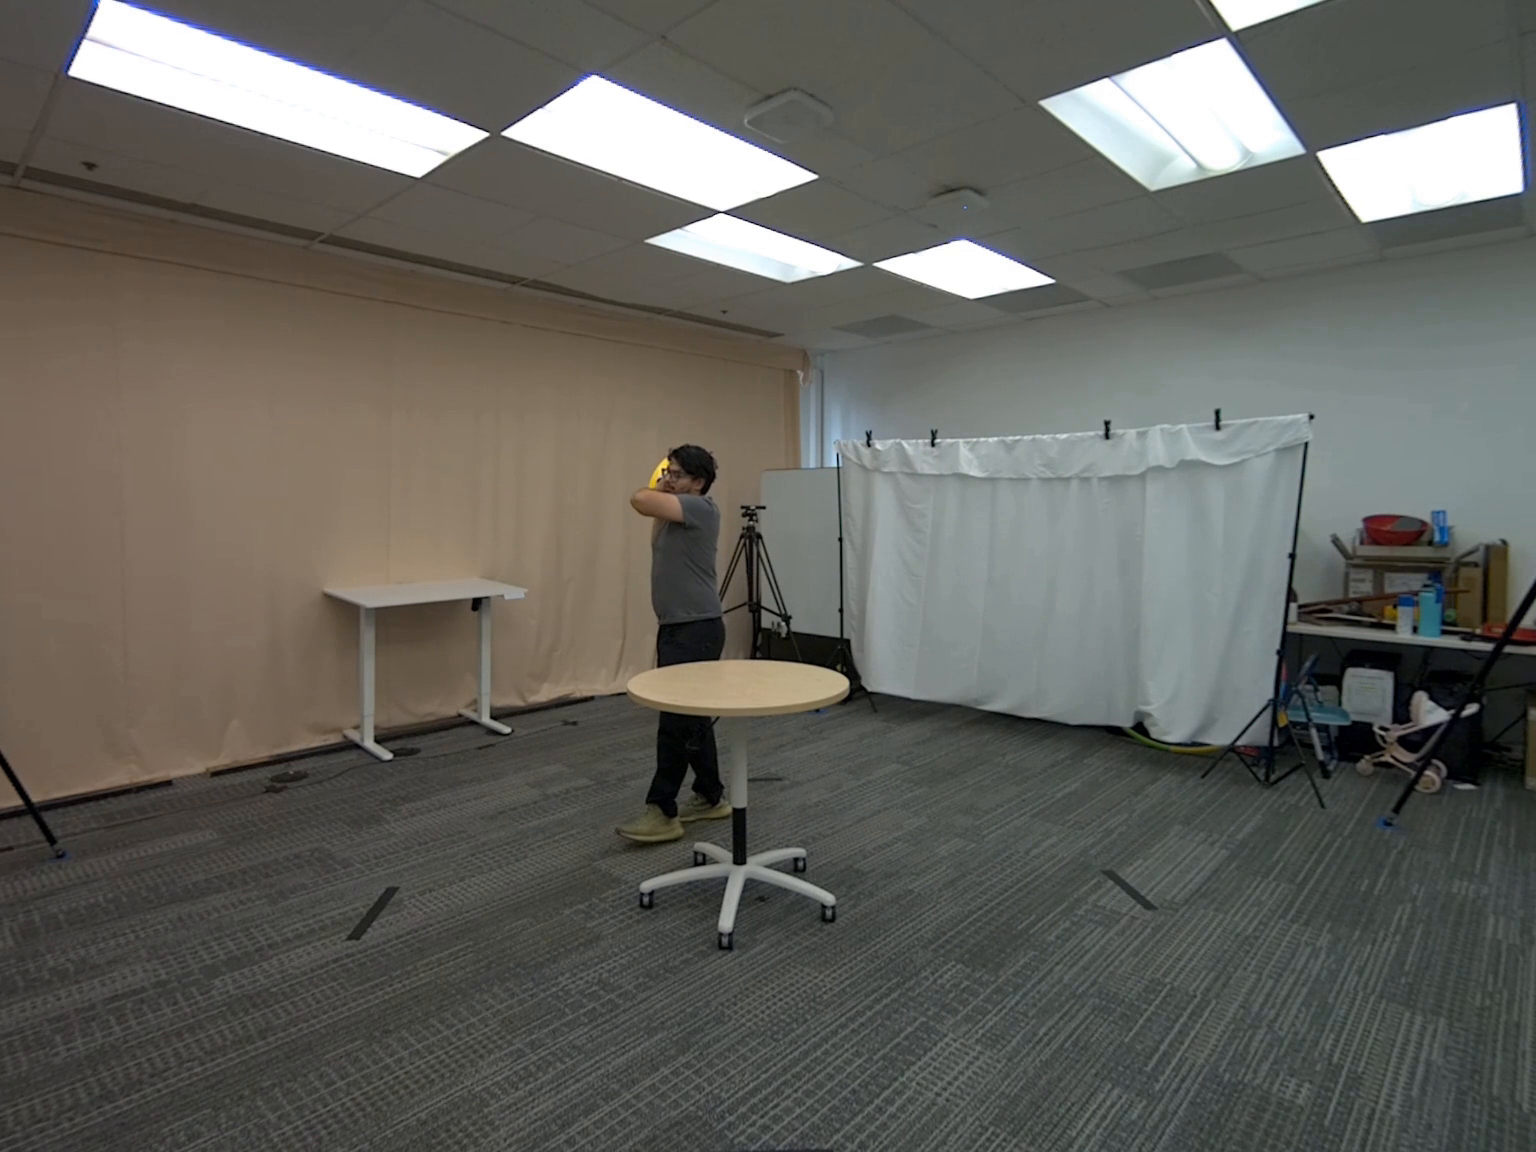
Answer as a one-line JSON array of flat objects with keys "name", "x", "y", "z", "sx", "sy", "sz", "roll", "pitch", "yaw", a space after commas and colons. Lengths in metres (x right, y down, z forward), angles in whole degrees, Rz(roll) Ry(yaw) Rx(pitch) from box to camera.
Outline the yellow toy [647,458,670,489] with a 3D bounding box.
[{"name": "yellow toy", "x": -0.485, "y": -0.414, "z": 3.828, "sx": 0.191, "sy": 0.229, "sz": 0.209, "roll": -19, "pitch": 10, "yaw": -15}]
